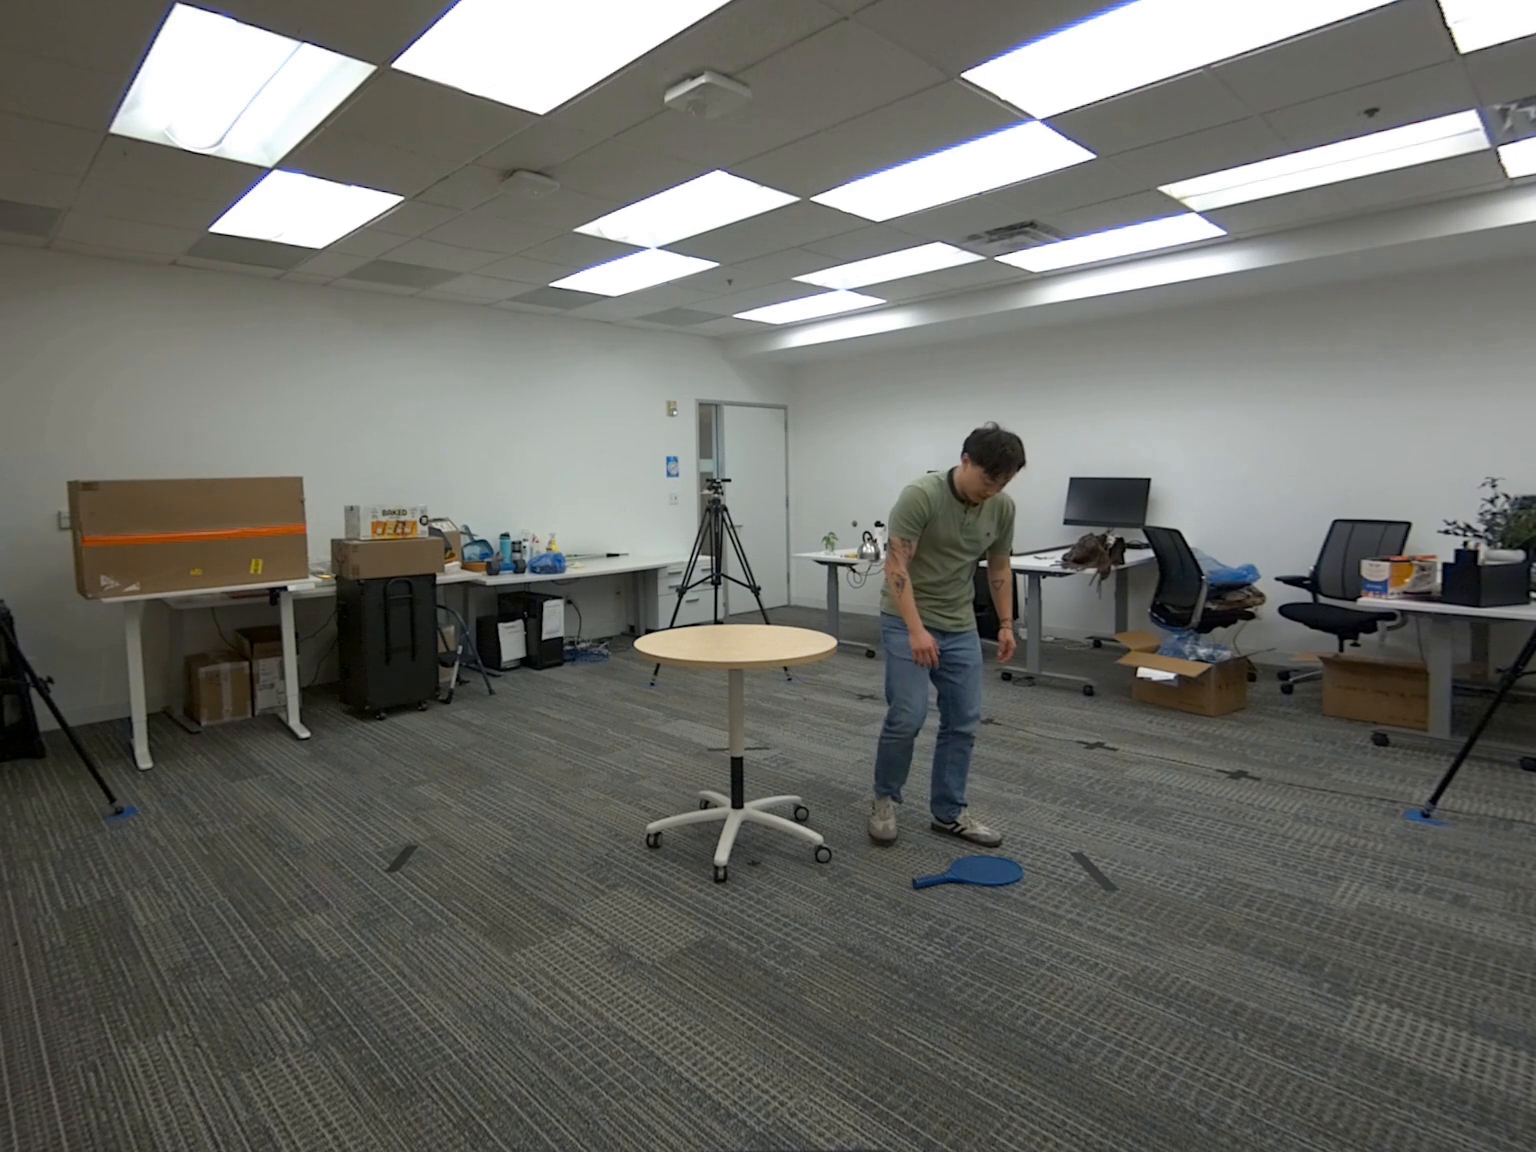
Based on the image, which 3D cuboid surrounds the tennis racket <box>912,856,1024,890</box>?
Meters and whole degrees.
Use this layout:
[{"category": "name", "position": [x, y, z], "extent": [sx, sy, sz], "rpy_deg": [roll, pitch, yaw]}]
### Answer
[{"category": "tennis racket", "position": [0.689, 1.032, 2.968], "extent": [0.424, 0.031, 0.219], "rpy_deg": [-2, 6, -23]}]
